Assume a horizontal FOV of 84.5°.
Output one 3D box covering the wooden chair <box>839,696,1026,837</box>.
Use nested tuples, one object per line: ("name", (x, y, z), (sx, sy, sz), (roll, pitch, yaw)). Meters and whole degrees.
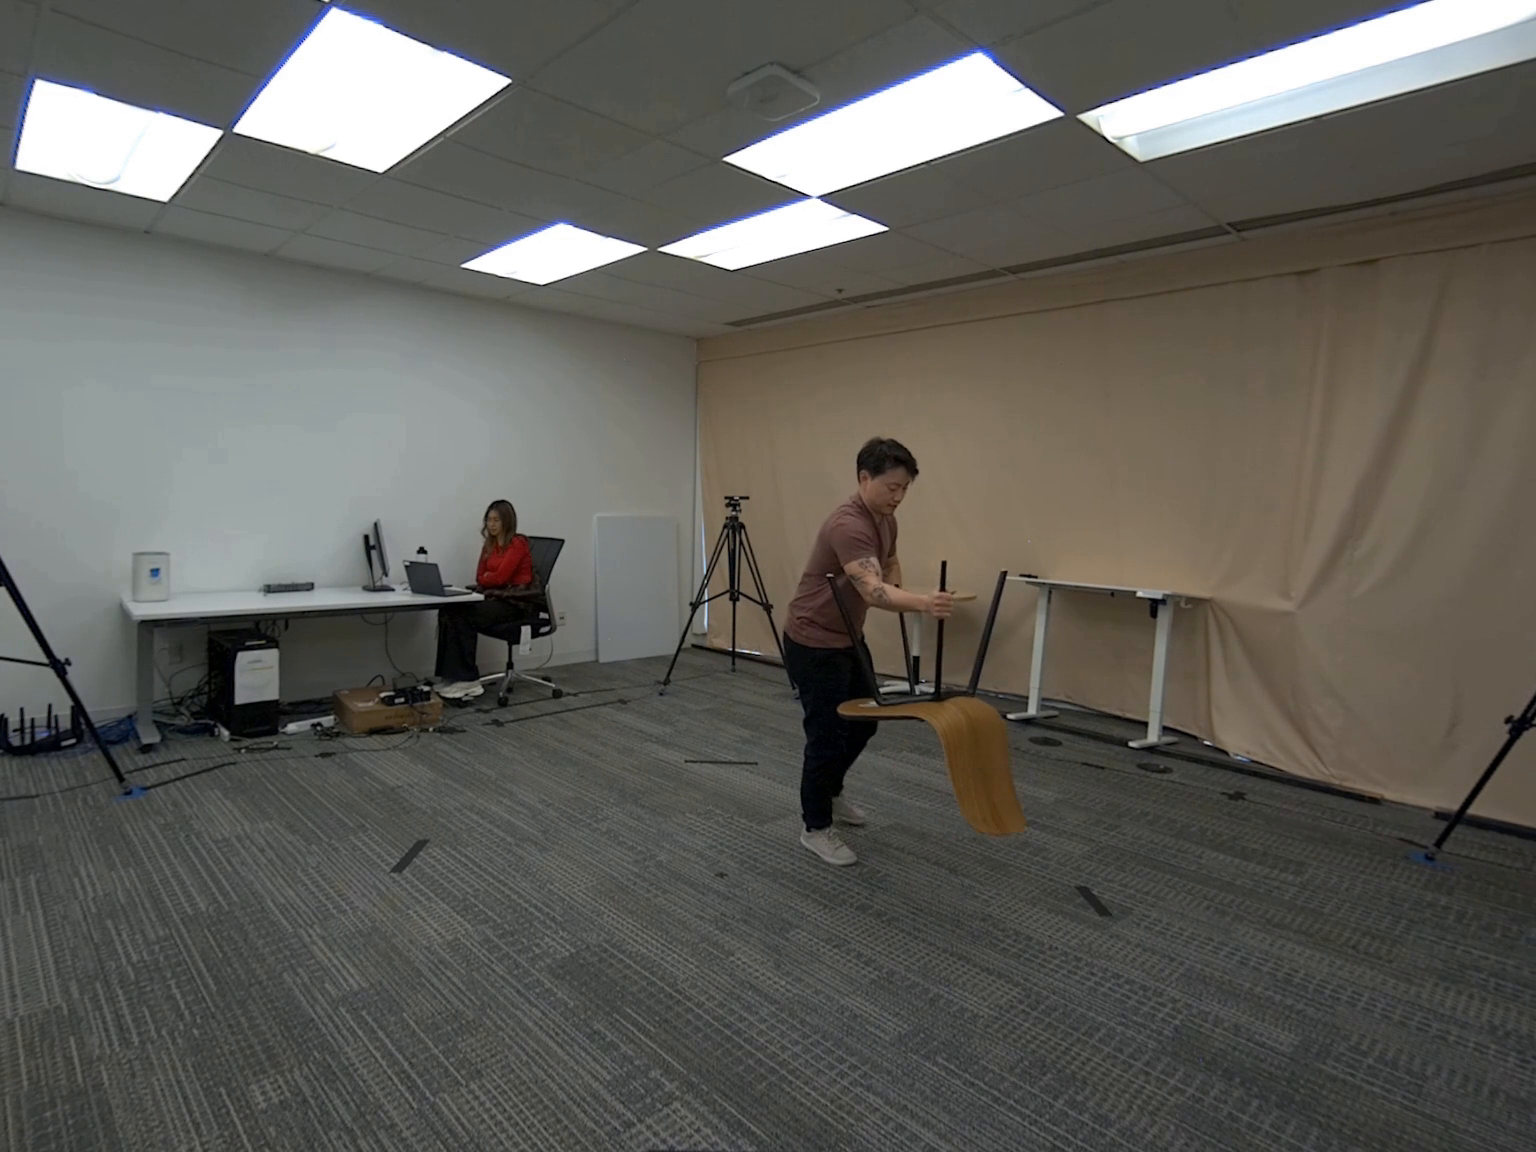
("wooden chair", (0.529, 0.418, 2.872), (0.532, 0.885, 0.465), (-14, -14, 39))
